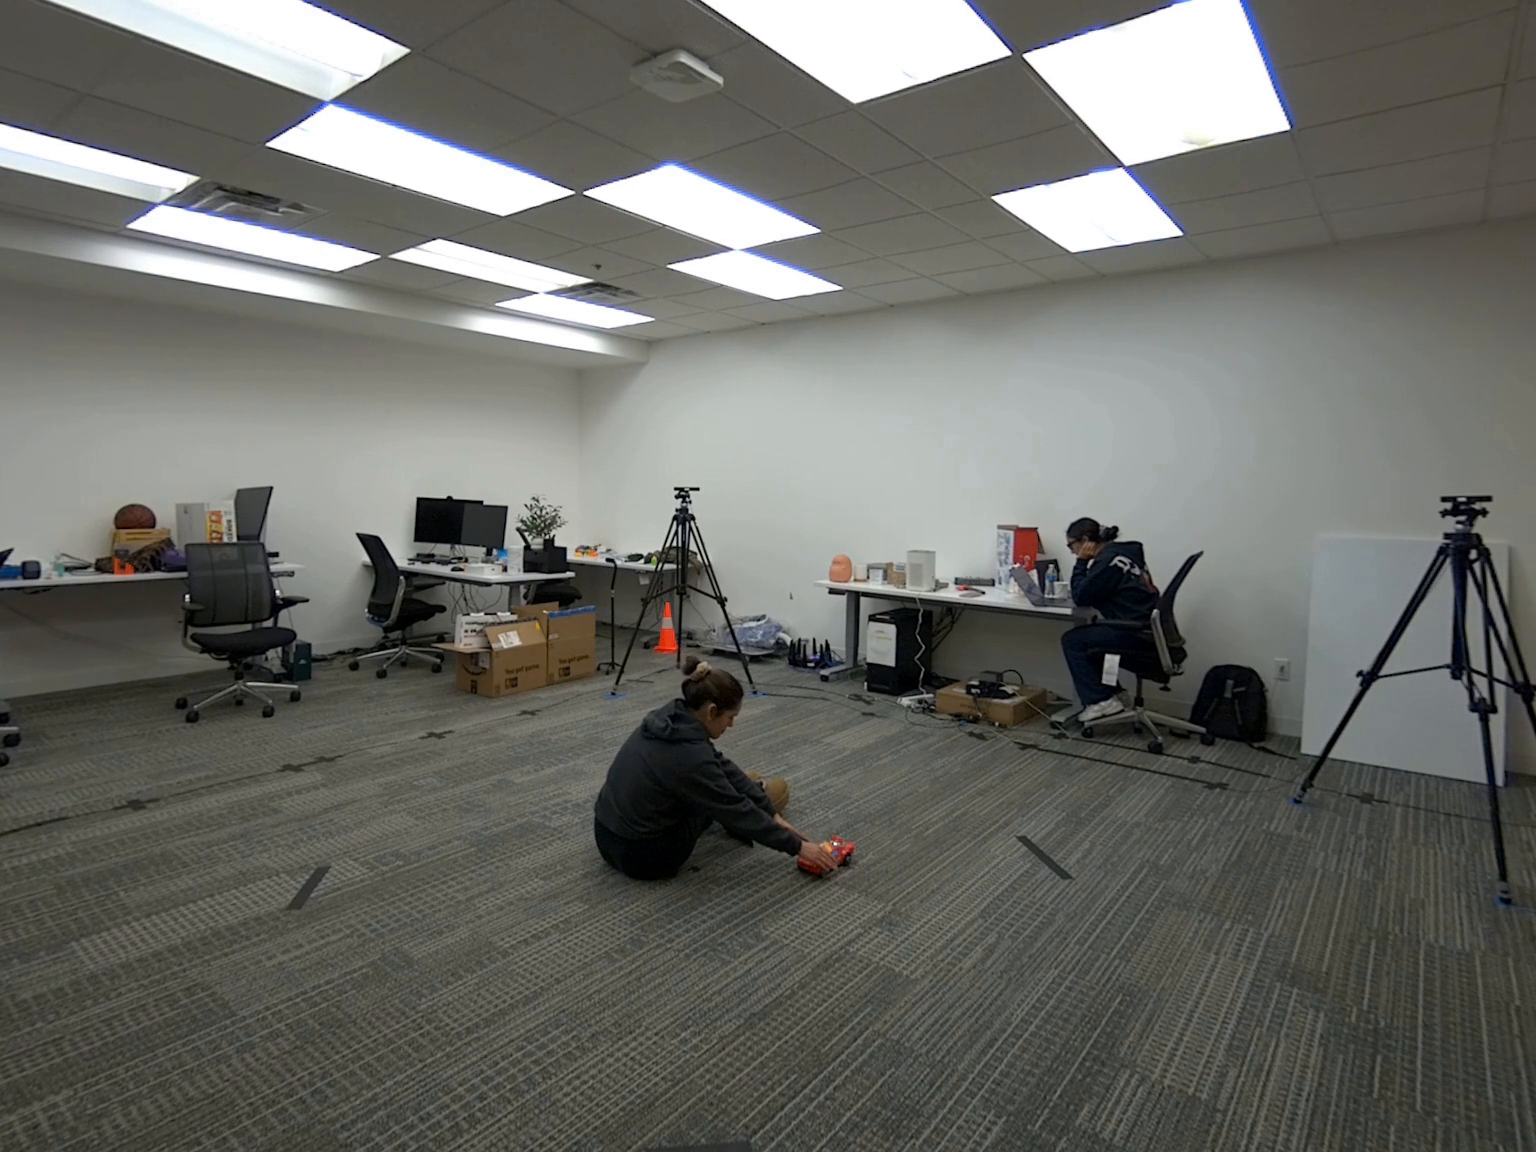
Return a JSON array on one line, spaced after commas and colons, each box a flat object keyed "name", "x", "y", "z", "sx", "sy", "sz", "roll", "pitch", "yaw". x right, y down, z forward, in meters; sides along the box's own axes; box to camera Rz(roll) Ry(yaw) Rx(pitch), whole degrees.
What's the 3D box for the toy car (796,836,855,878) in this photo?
[{"name": "toy car", "x": 0.230, "y": 1.040, "z": 3.161, "sx": 0.135, "sy": 0.082, "sz": 0.250, "roll": 7, "pitch": 22, "yaw": 42}]
